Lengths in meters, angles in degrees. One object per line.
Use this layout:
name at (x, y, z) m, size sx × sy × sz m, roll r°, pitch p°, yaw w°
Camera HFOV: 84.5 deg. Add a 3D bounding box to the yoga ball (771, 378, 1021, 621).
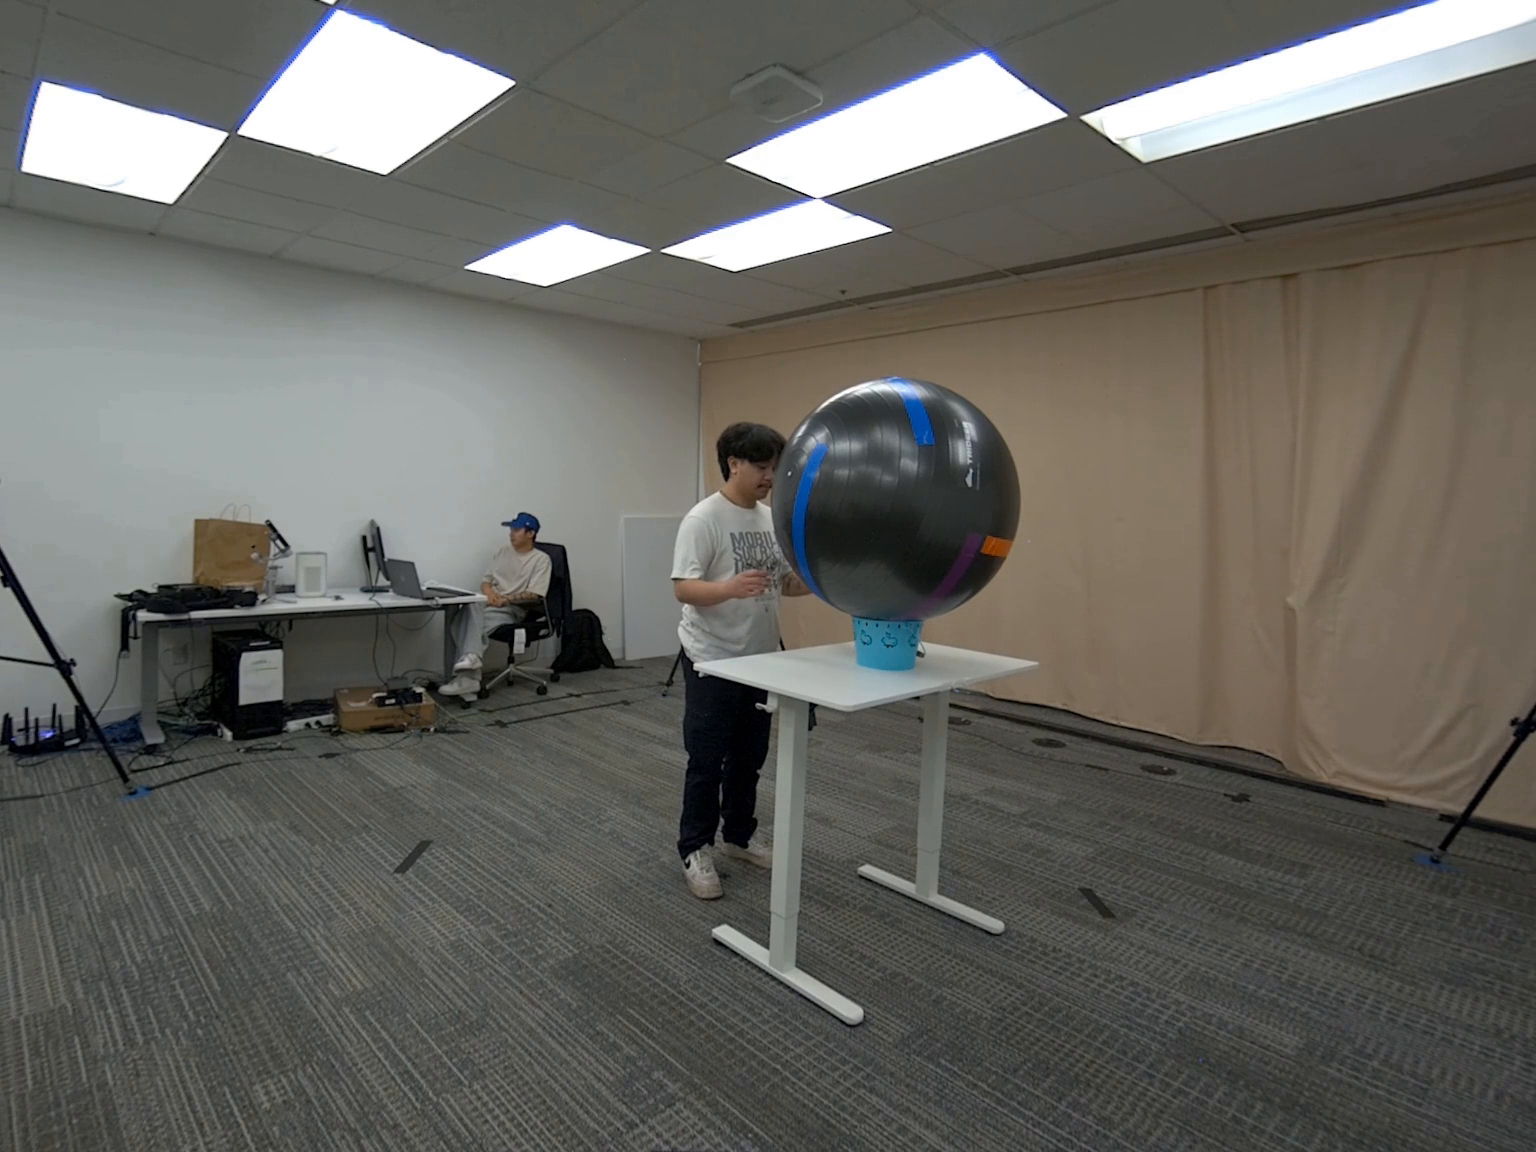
yoga ball at (0.390, -0.221, 2.621) m, size 0.757 × 0.756 × 0.761 m, roll 1°, pitch 4°, yaw -1°
